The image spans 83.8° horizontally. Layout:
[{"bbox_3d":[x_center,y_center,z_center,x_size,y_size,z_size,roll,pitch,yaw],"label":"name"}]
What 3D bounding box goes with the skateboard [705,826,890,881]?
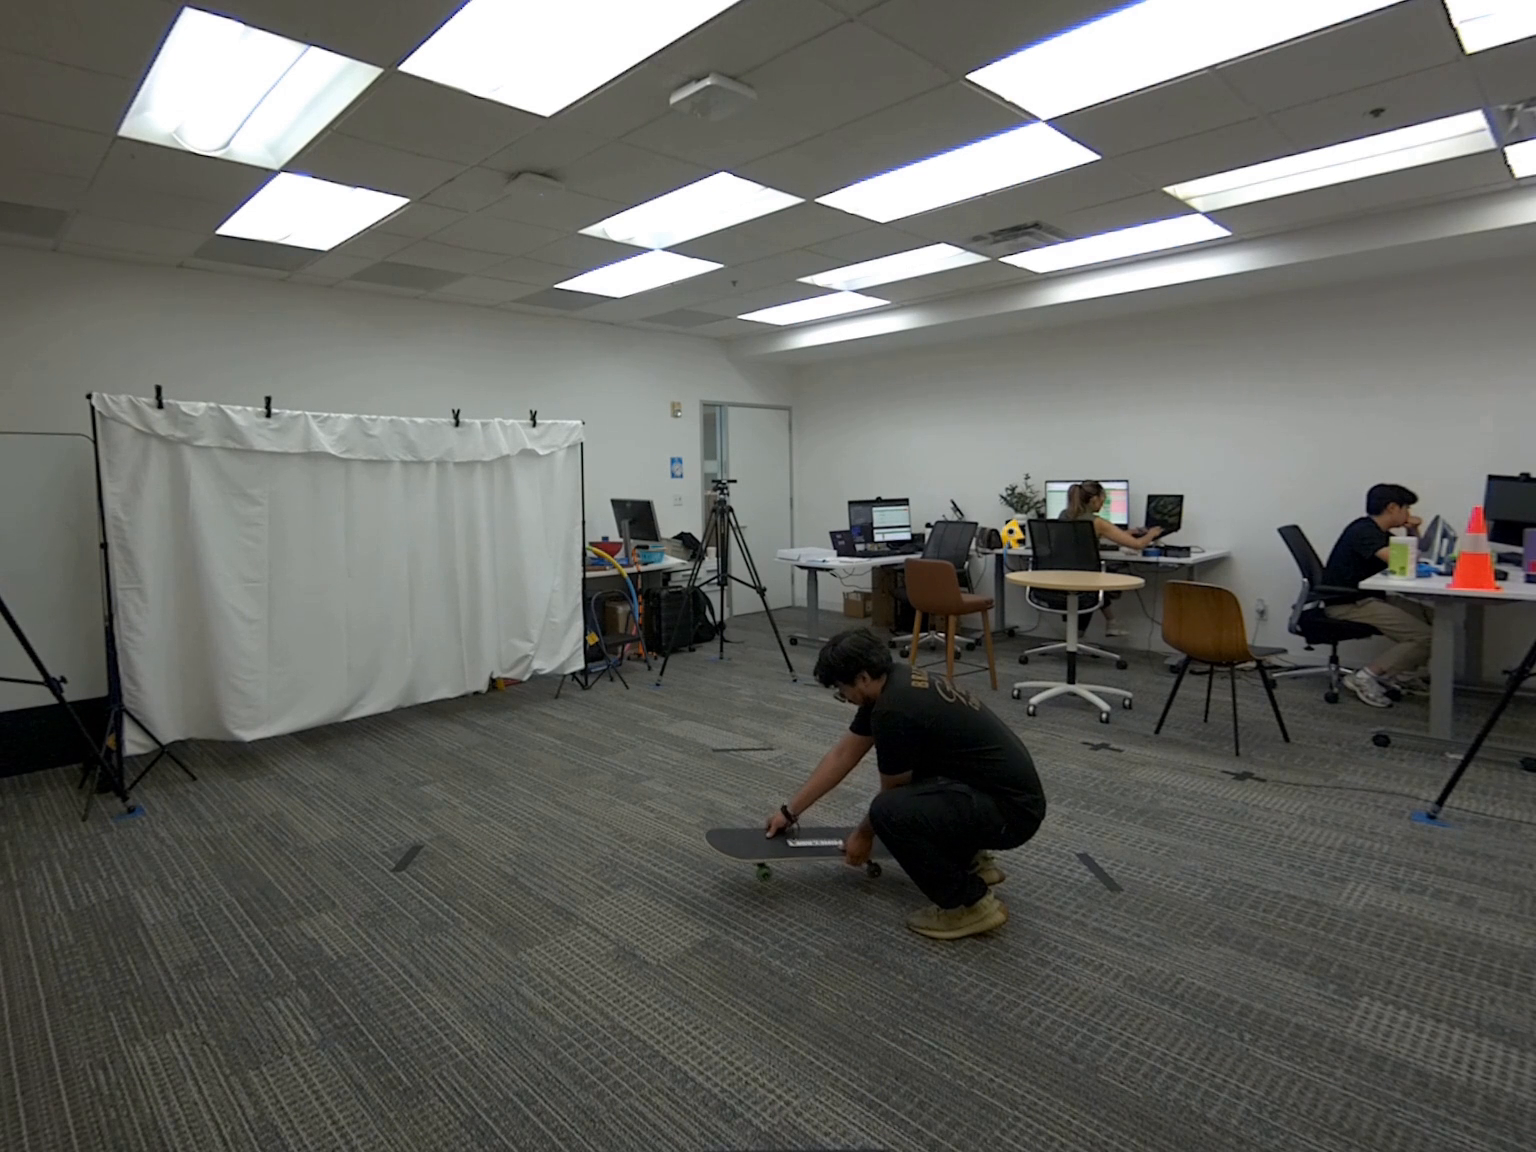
[{"bbox_3d":[0.168,0.961,2.951,0.774,0.109,0.198,5,13,-14],"label":"skateboard"}]
